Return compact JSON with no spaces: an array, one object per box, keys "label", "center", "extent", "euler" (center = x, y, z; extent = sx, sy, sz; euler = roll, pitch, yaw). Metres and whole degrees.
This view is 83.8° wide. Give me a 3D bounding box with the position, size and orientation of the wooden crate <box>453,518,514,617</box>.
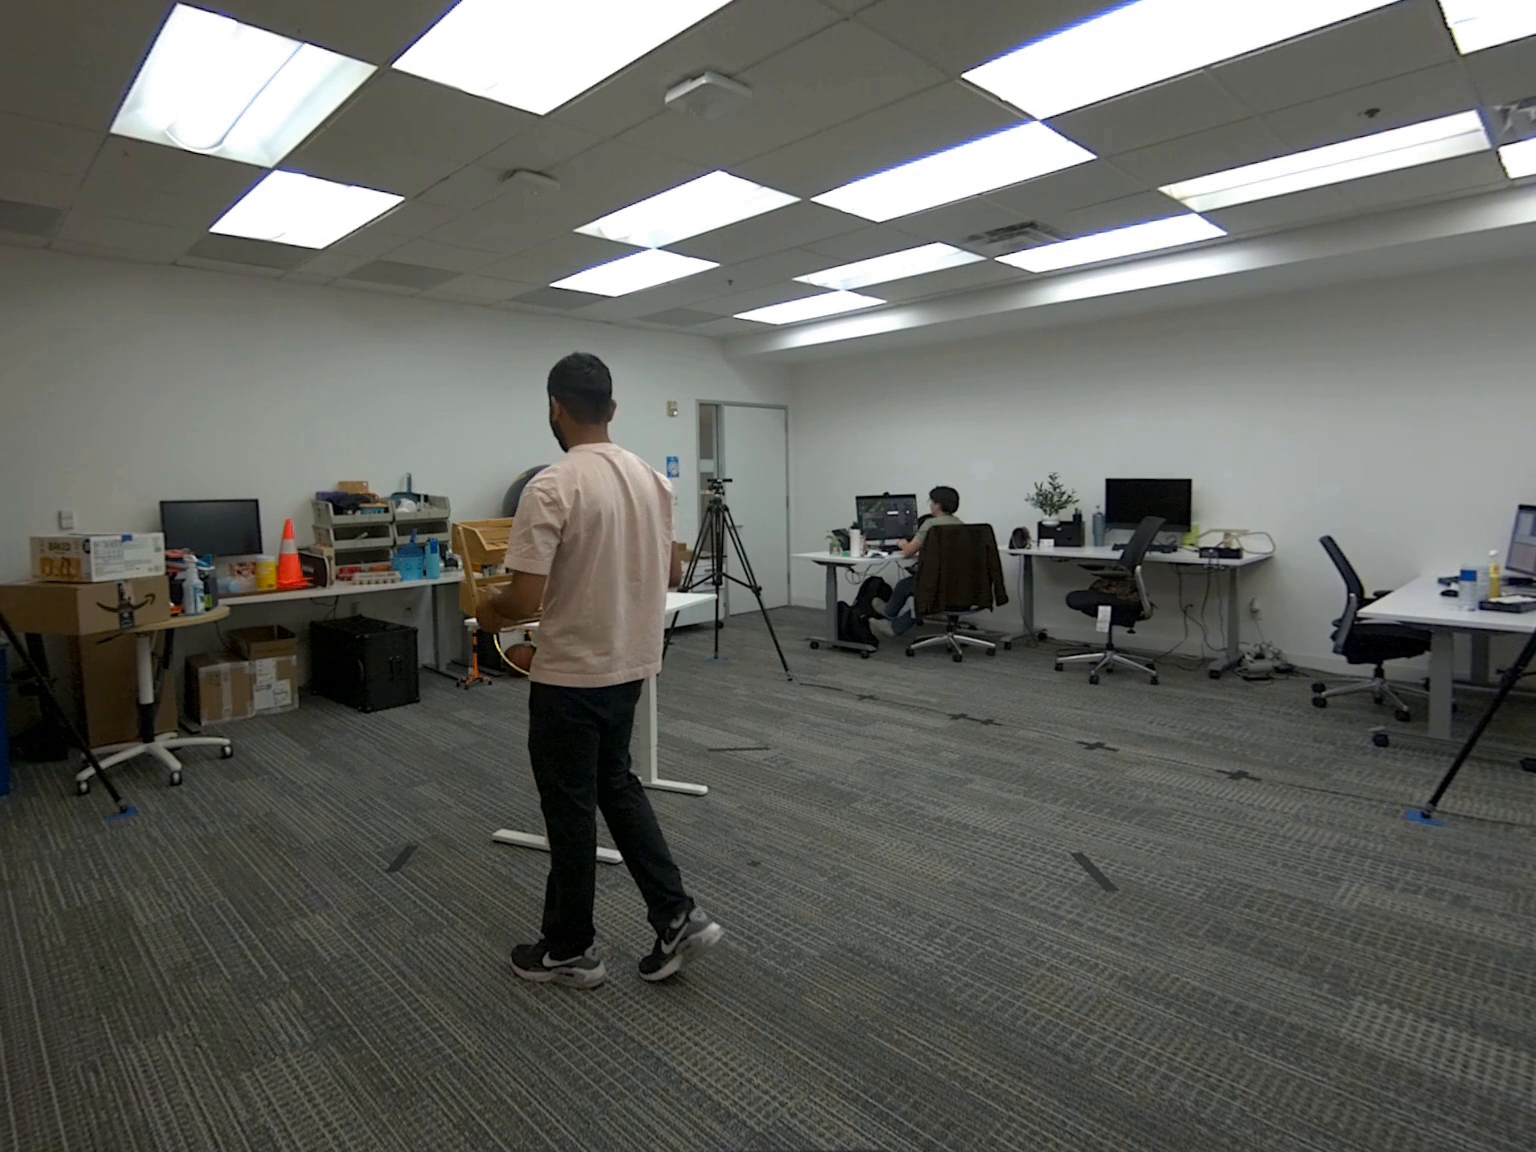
[{"label":"wooden crate","center":[-0.737,-0.024,2.580],"extent":[0.316,0.271,0.313],"euler":[-8,17,-44]}]
